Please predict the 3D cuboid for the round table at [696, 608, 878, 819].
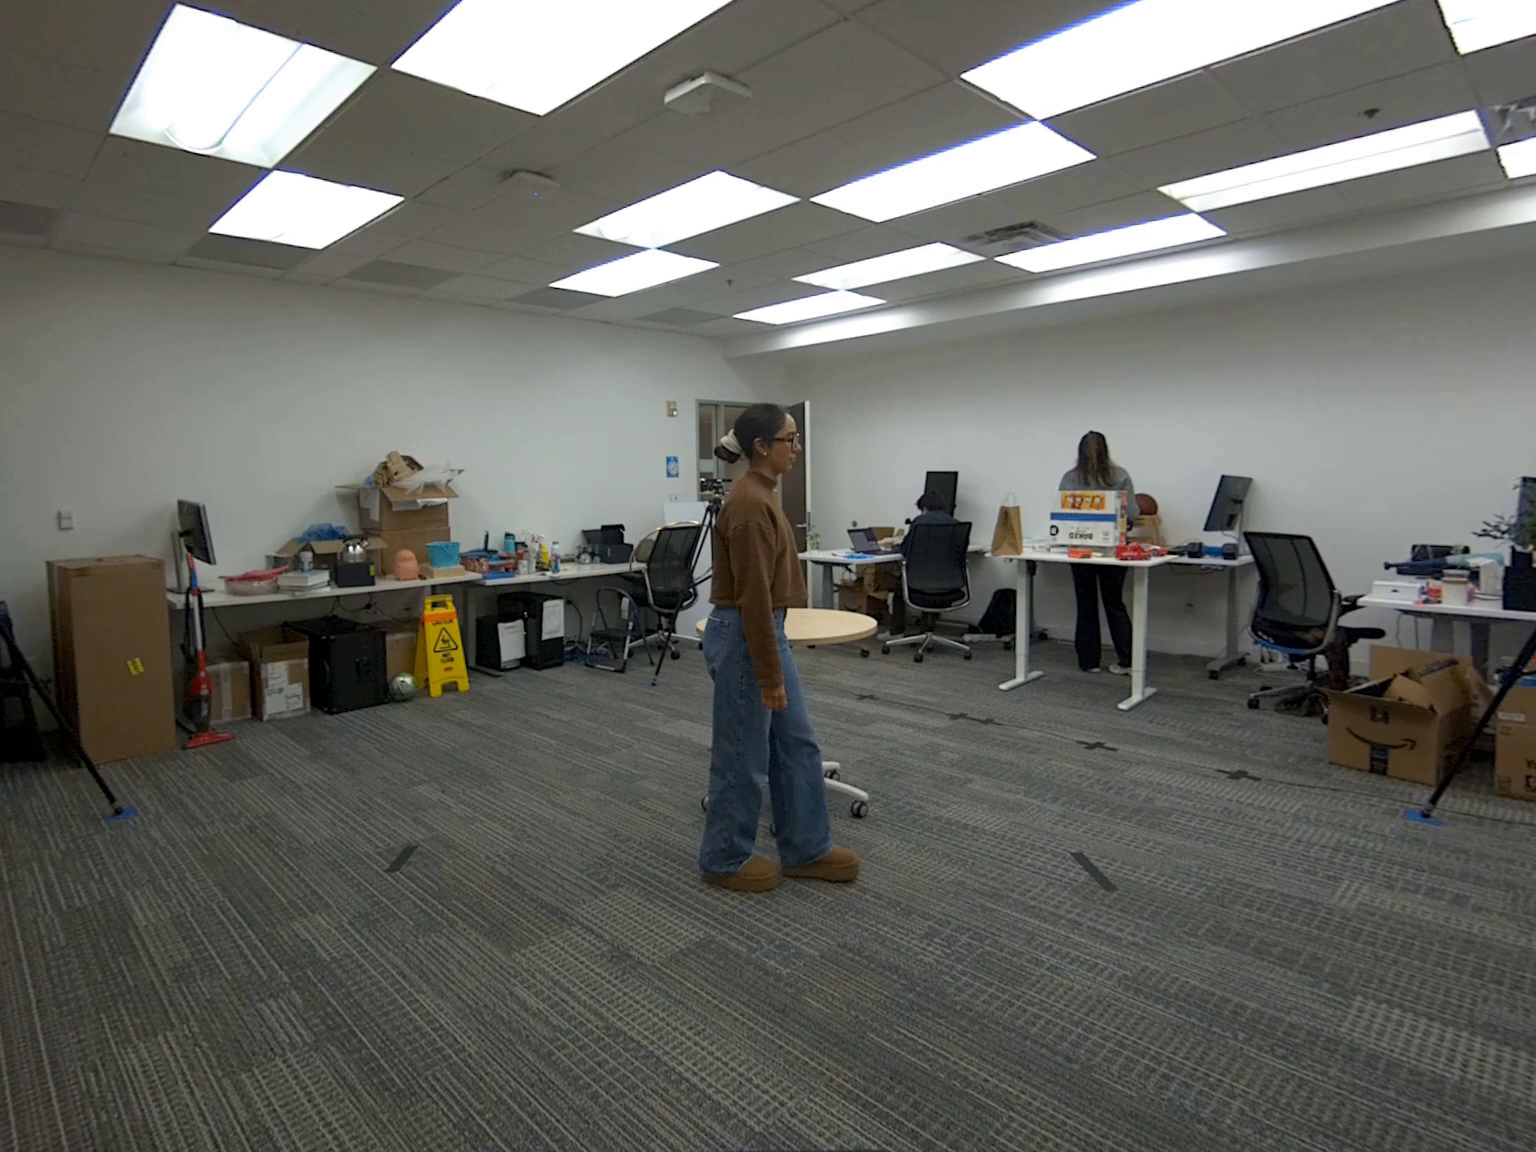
[{"bbox_3d":[0.078,0.587,3.672,0.784,0.783,0.789,-1,5,-2],"label":"round table"}]
